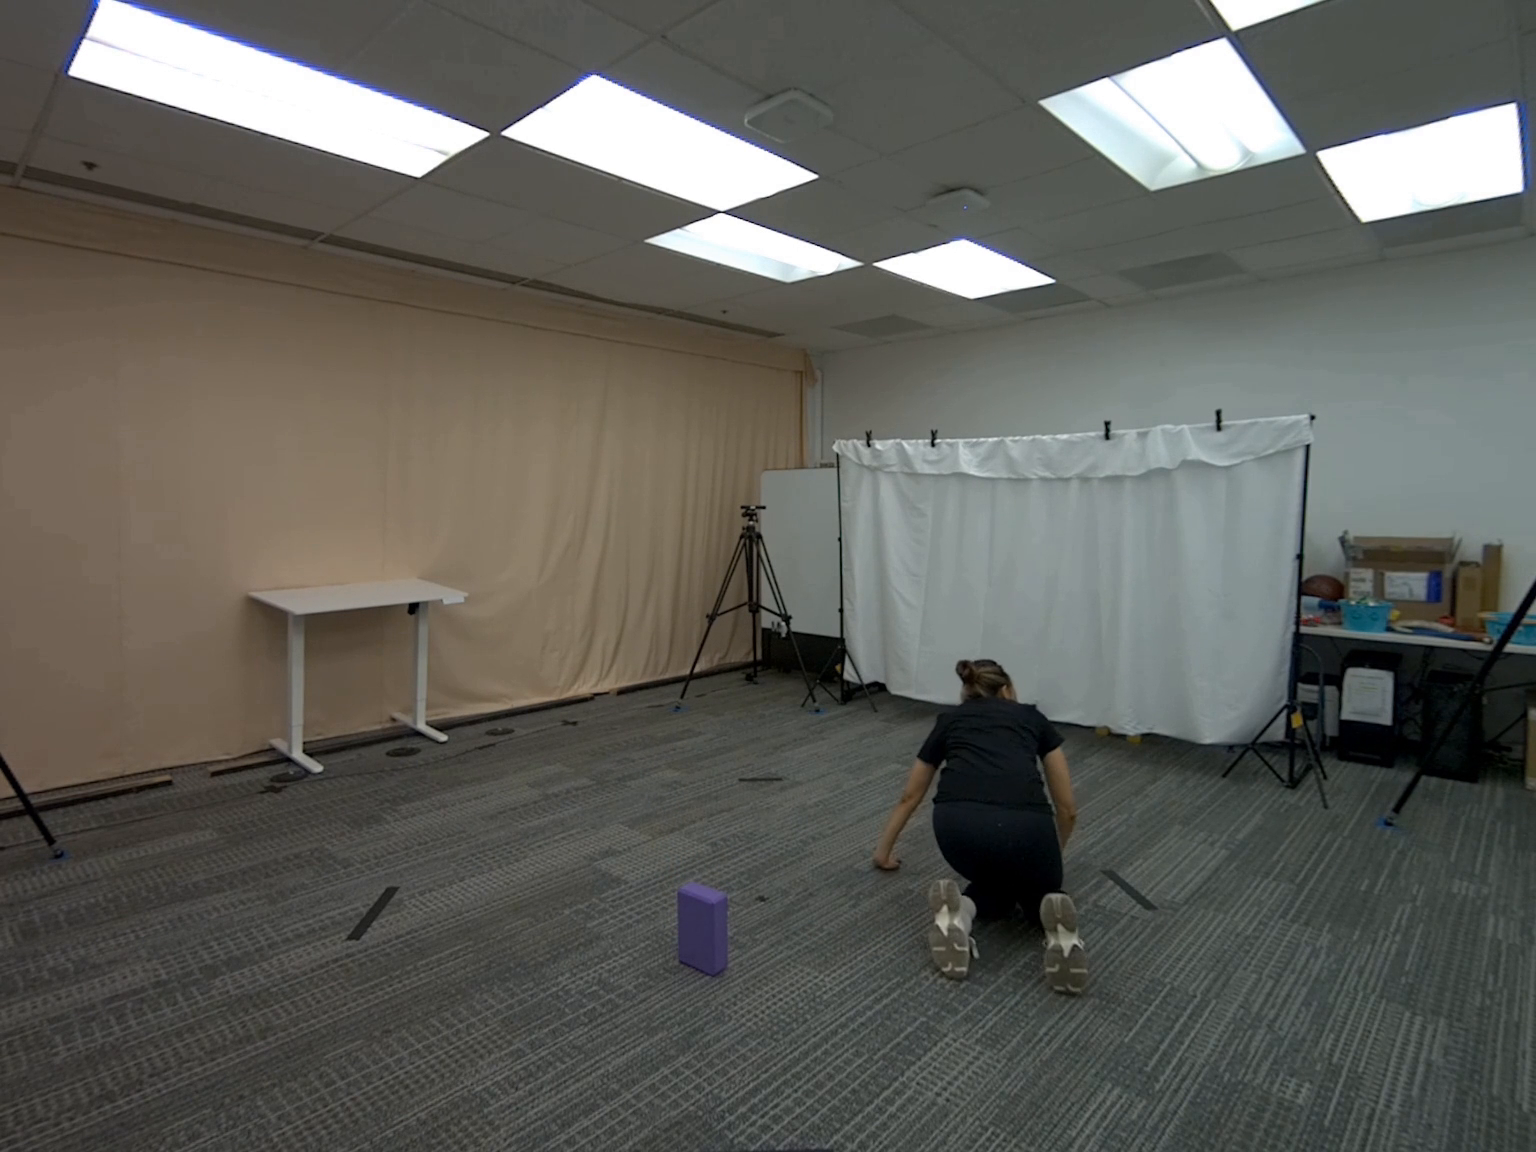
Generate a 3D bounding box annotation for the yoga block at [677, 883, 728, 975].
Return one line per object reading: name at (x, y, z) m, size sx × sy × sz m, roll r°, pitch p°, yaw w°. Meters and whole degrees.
yoga block at (-0.194, 1.069, 2.549) m, size 0.154 × 0.229 × 0.074 m, roll 2°, pitch 3°, yaw 37°
